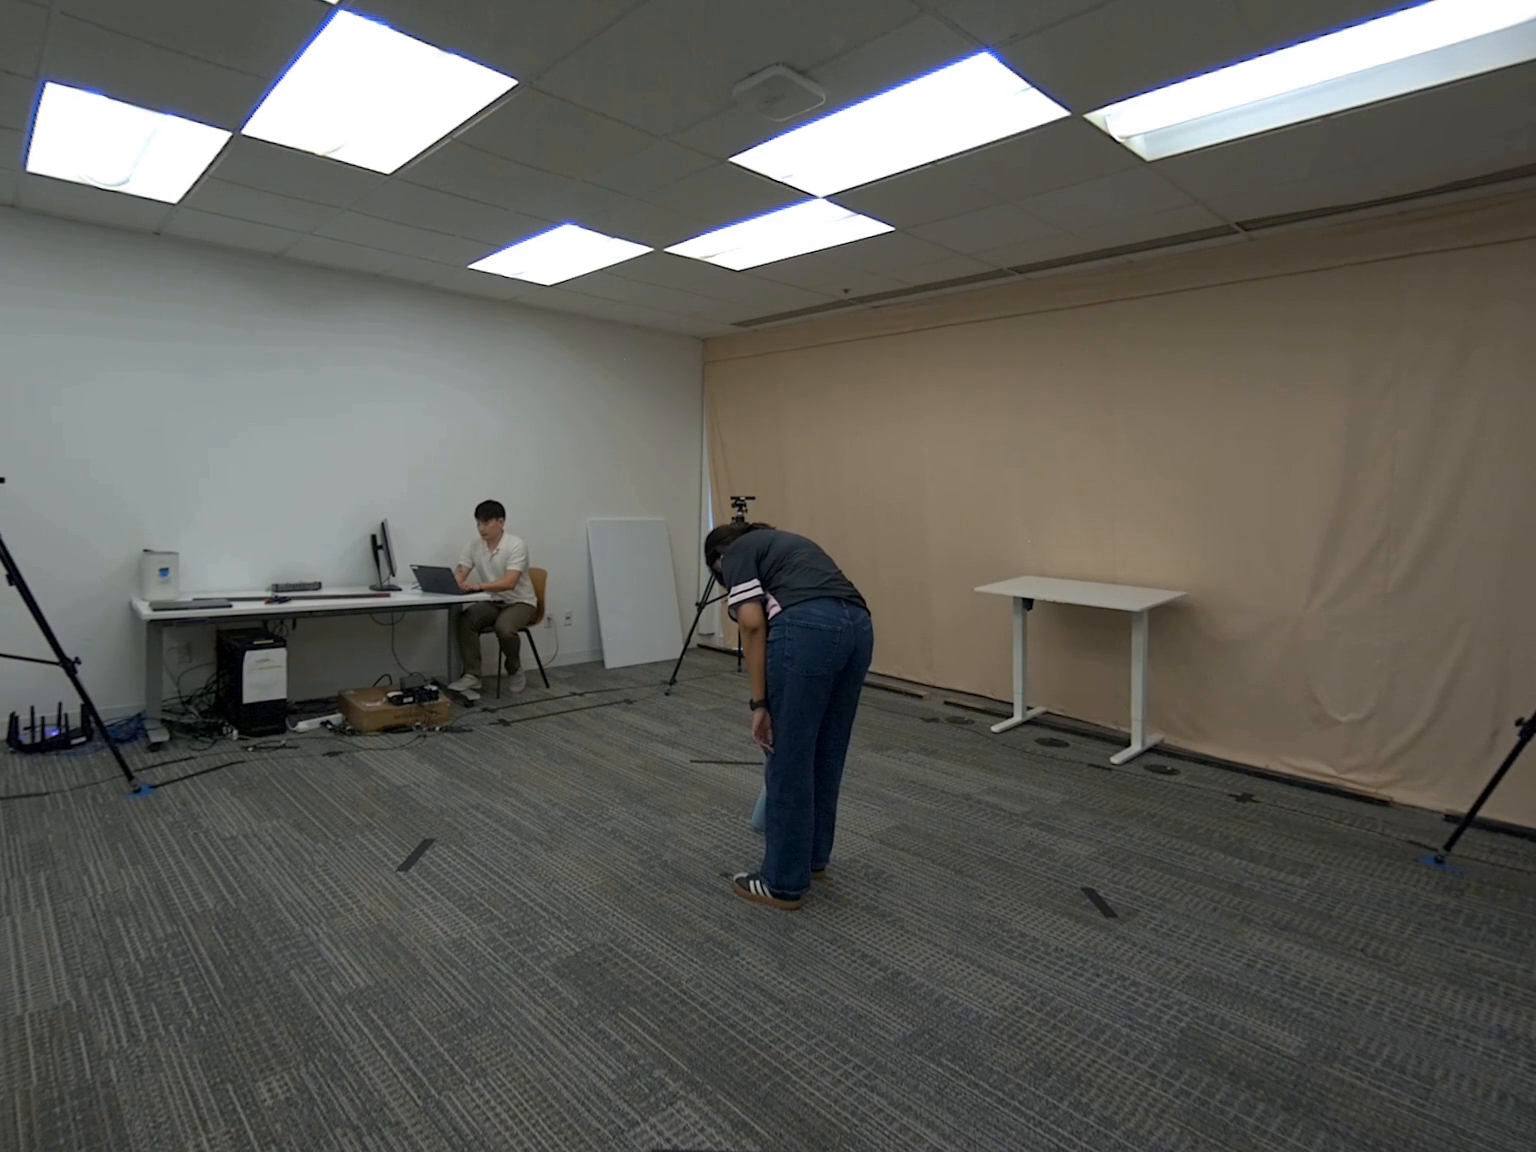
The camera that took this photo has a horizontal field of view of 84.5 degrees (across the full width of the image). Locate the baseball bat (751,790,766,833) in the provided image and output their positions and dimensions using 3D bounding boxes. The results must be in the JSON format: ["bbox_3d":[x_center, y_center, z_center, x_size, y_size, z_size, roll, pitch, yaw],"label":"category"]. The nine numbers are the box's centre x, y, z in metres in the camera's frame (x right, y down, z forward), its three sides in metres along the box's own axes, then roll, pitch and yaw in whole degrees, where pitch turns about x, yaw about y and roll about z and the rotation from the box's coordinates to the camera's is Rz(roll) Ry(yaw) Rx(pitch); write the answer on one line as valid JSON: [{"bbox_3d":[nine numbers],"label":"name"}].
[{"bbox_3d":[0.028,0.839,3.425,0.088,0.536,0.091,11,31,-8],"label":"baseball bat"}]
